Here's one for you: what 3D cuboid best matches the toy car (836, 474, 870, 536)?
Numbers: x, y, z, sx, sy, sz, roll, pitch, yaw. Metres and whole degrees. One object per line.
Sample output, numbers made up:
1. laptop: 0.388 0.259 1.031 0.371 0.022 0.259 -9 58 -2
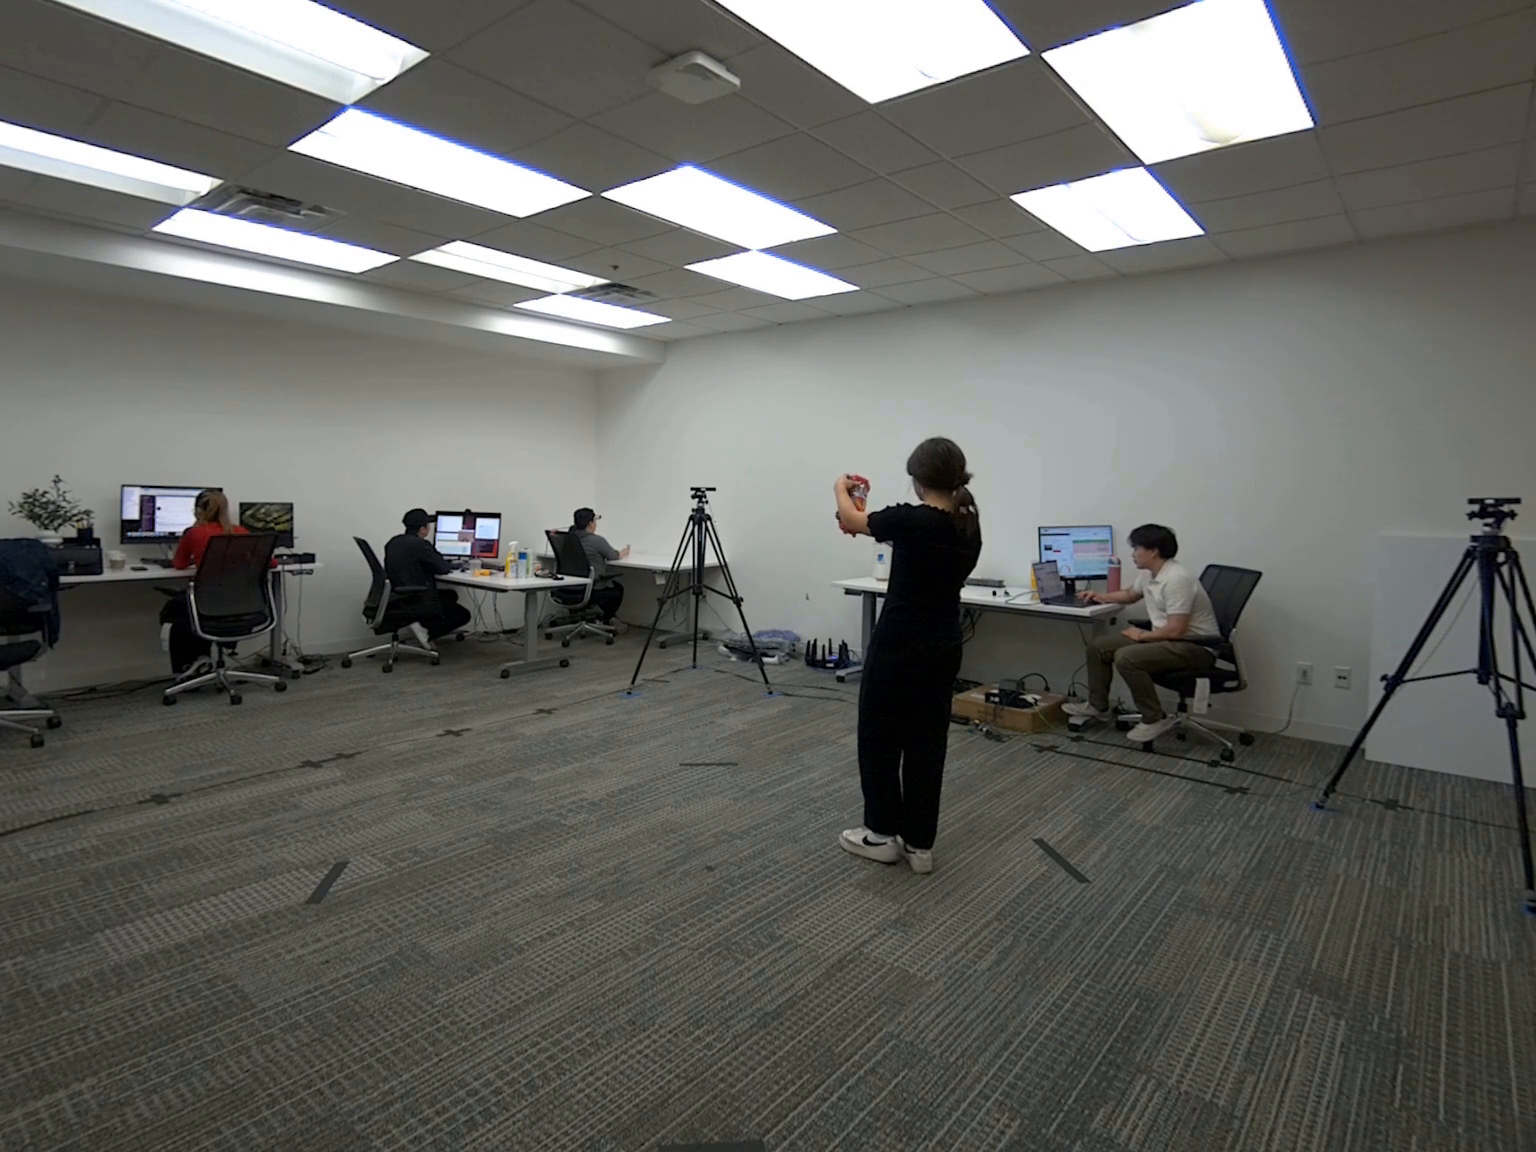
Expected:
1. toy car: 0.344 -0.295 3.549 0.125 0.257 0.085 19 -18 -37
